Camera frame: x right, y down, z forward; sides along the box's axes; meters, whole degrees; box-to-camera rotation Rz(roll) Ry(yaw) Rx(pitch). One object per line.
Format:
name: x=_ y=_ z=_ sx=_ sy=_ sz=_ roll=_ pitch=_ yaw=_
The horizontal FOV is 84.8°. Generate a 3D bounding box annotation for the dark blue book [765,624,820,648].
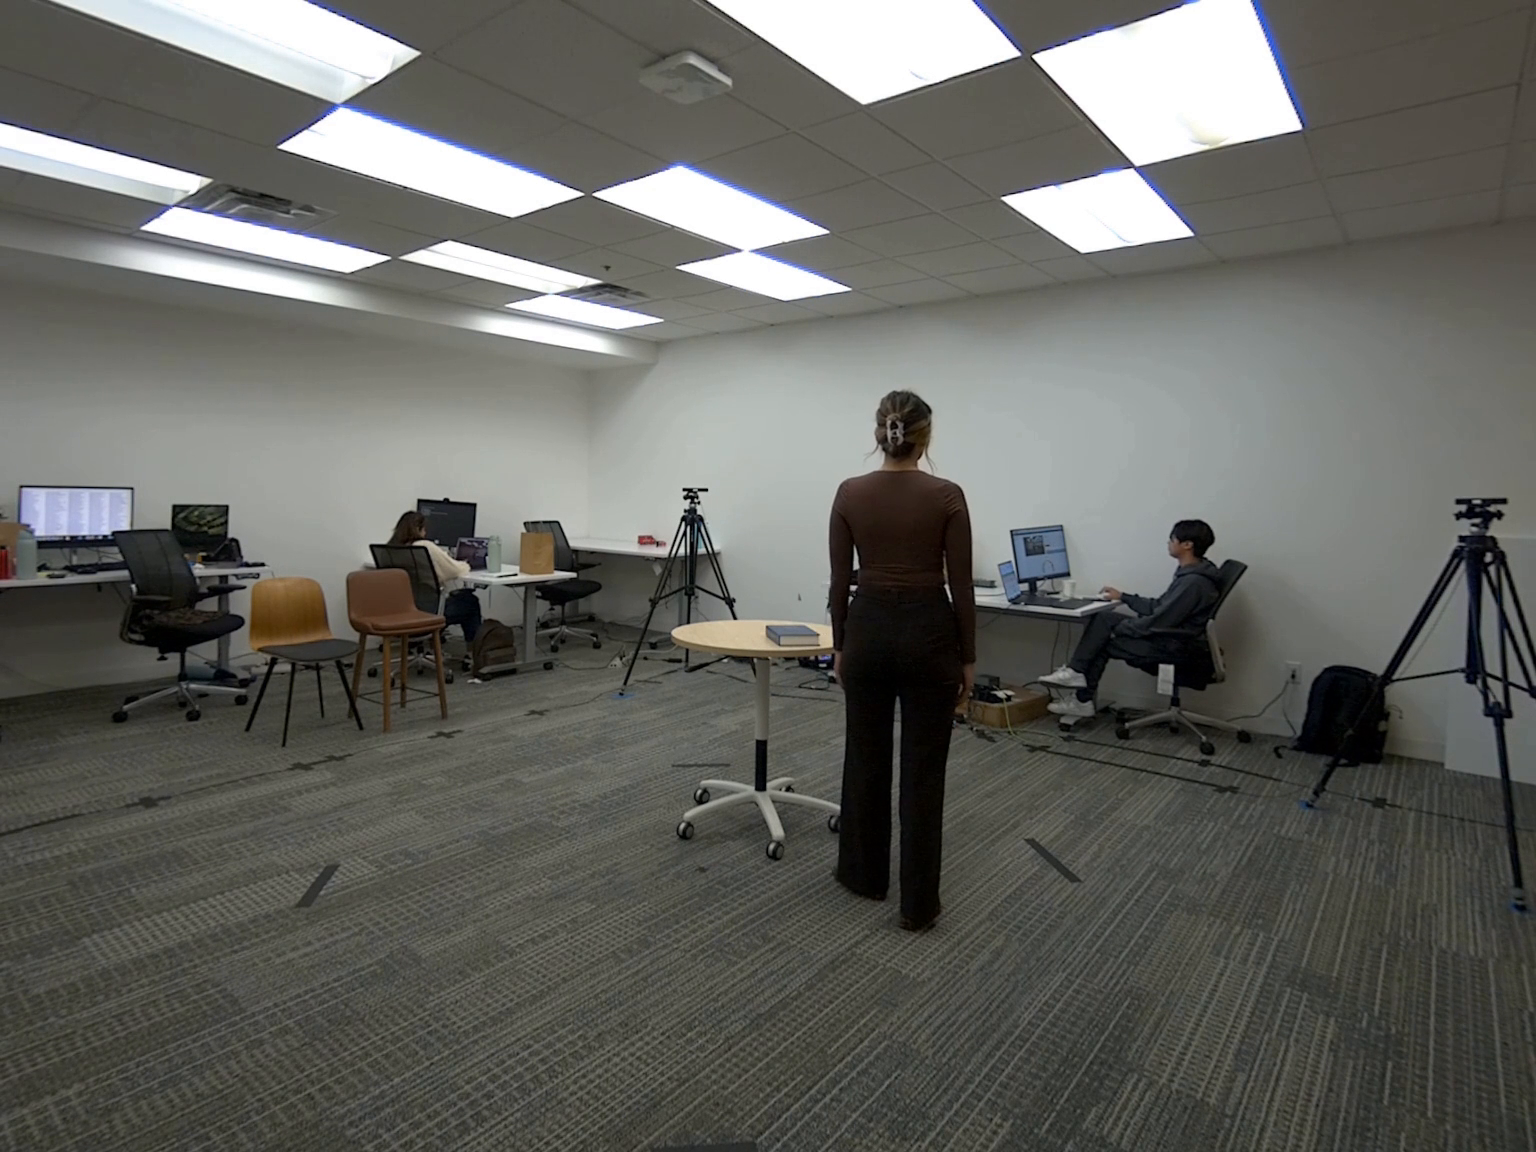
dark blue book: x=0.088 y=0.230 z=3.365 sx=0.161 sy=0.045 sz=0.249 roll=0 pitch=5 yaw=-11
